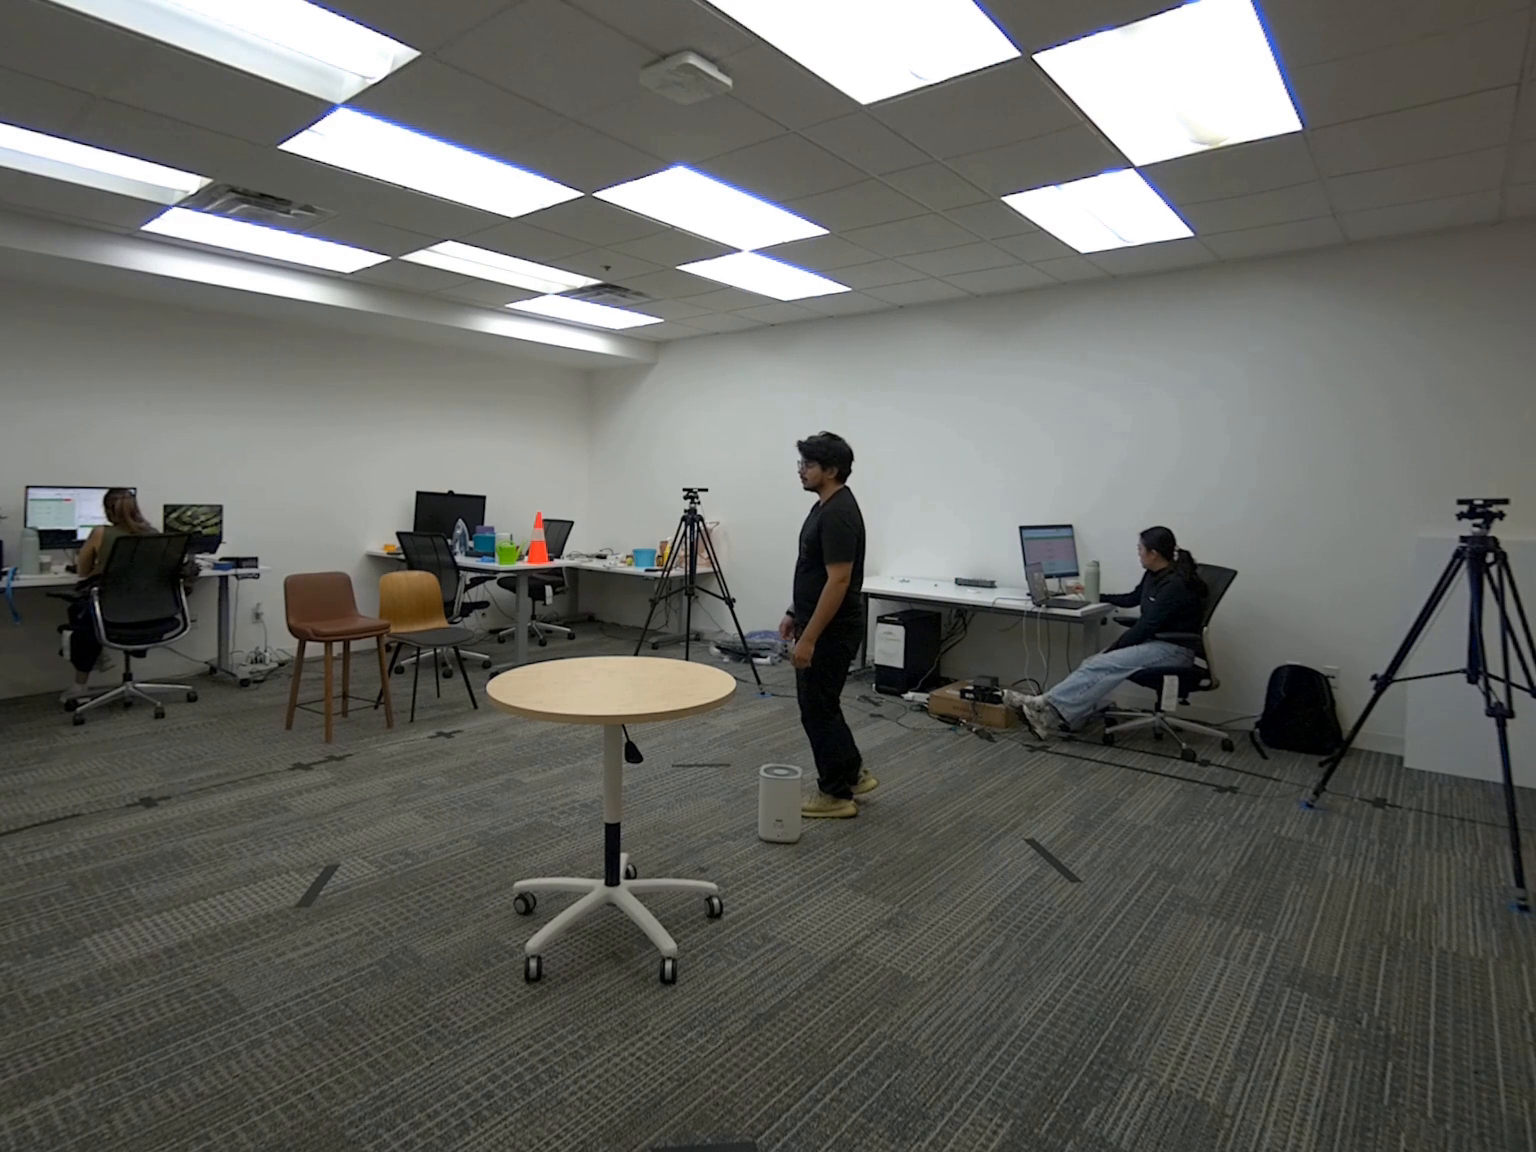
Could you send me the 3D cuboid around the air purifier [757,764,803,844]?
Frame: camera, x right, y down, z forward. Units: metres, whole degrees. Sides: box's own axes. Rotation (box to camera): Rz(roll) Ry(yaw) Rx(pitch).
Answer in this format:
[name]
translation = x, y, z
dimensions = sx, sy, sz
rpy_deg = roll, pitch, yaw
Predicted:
[air purifier]
translation = 0.040, 0.908, 3.422
dimensions = 0.170, 0.261, 0.172
rpy_deg = 2, 4, 9
